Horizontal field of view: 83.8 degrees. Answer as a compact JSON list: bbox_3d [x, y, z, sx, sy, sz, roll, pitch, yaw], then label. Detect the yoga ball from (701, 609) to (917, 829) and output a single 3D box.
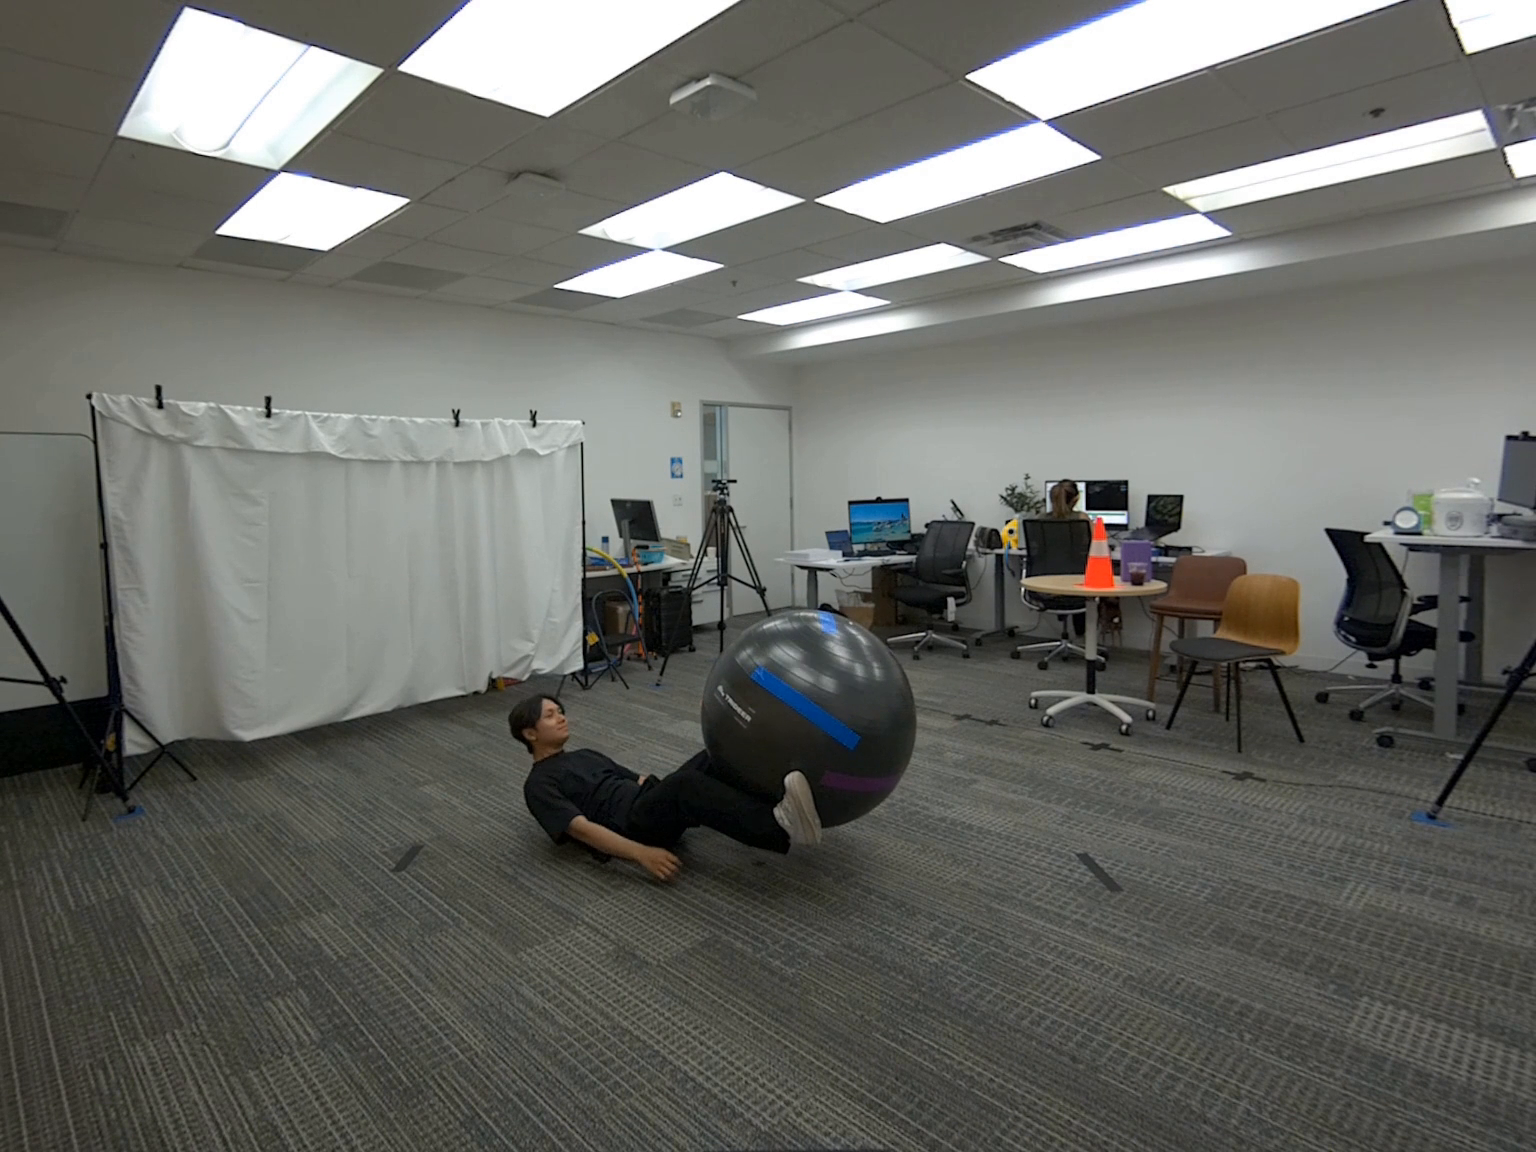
[{"bbox_3d":[0.137,0.502,3.058,0.757,0.755,0.762,-1,5,-2],"label":"yoga ball"}]
